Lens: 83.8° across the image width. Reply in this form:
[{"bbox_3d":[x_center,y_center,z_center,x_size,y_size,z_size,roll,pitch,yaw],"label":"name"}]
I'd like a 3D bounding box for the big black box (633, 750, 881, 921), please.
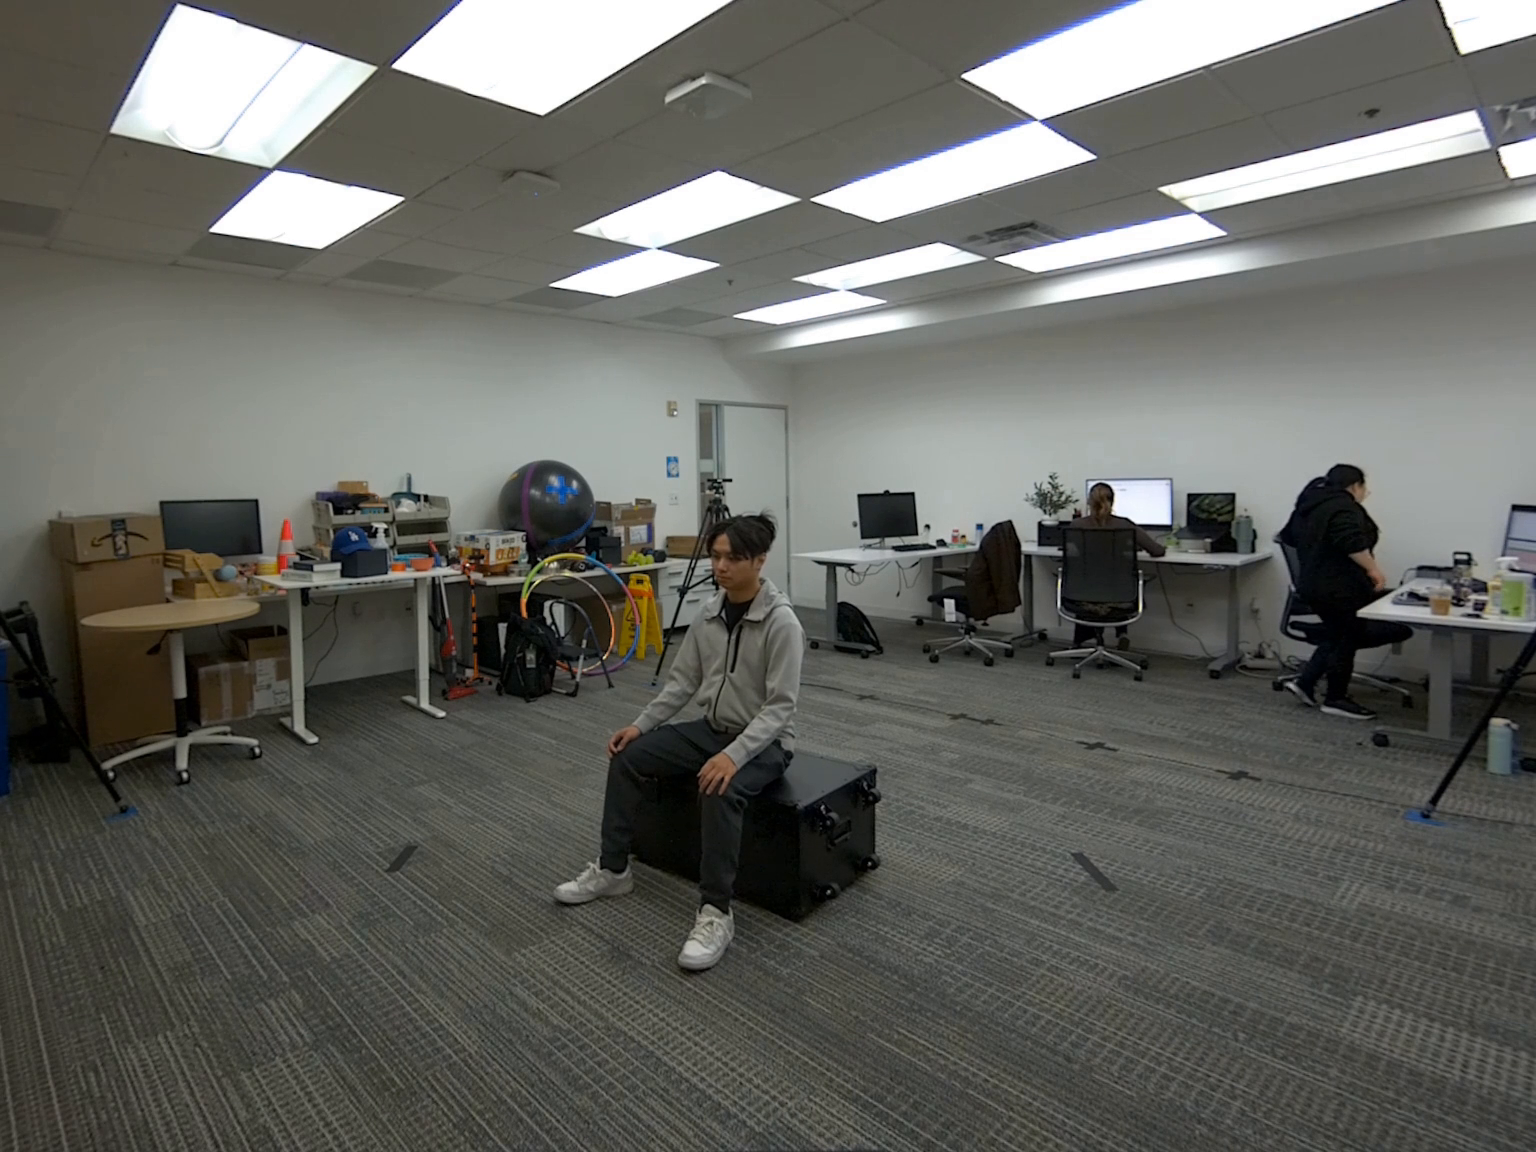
[{"bbox_3d":[-0.089,0.861,3.115,0.887,0.395,0.508,4,7,38],"label":"big black box"}]
